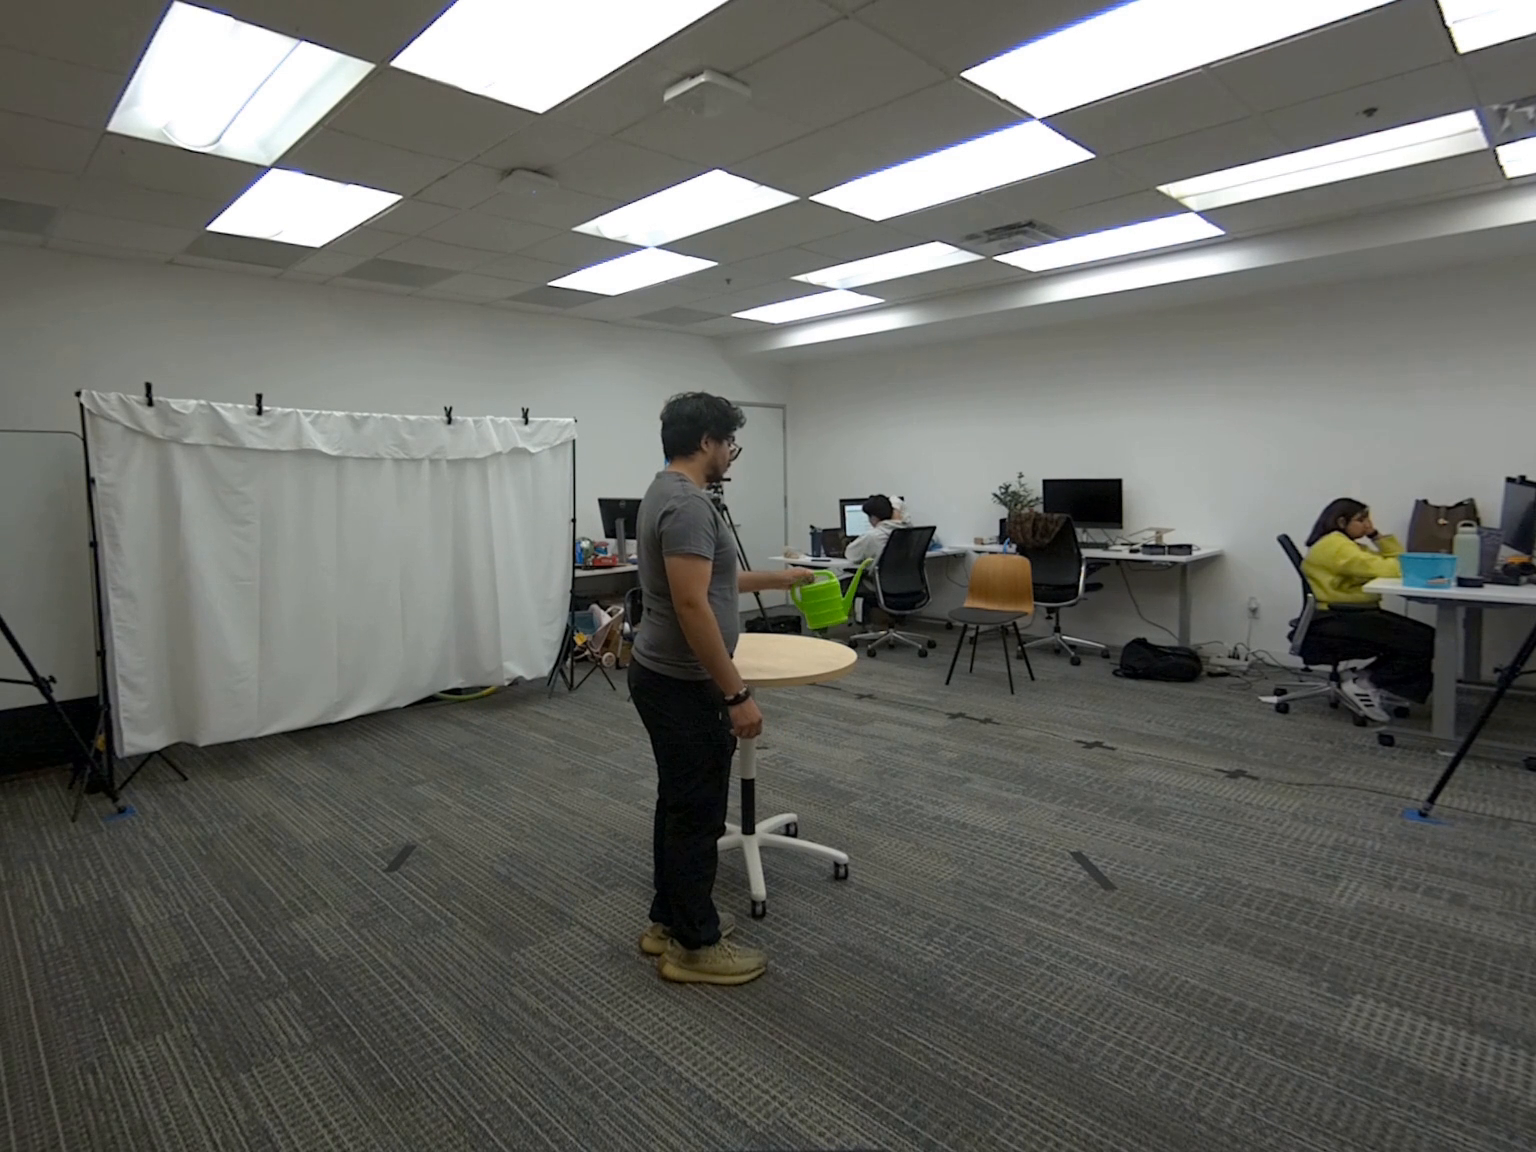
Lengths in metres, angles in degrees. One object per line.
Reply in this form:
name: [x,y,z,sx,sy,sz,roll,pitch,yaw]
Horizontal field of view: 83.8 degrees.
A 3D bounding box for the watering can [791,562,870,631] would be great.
watering can: [0.217,0.060,2.681,0.283,0.177,0.096,-14,-2,32]
